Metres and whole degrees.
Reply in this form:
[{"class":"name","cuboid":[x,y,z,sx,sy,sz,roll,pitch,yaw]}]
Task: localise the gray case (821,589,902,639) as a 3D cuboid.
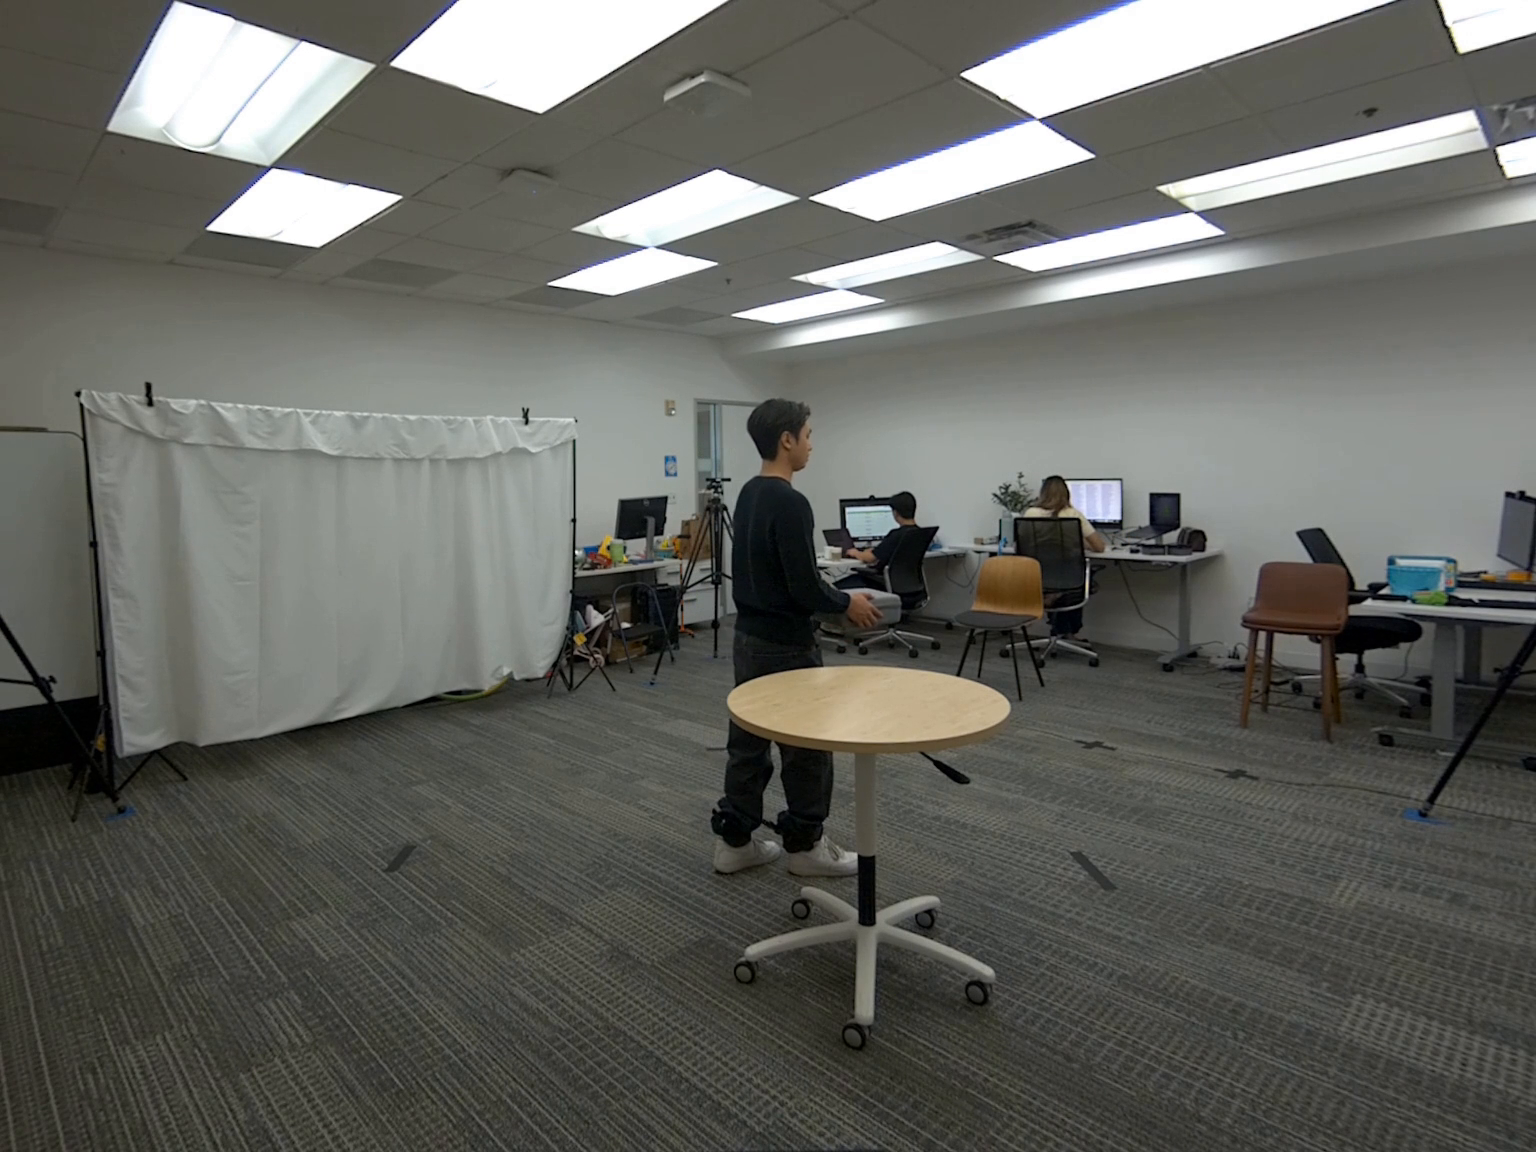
[{"class":"gray case","cuboid":[0.314,0.112,3.155,0.258,0.103,0.261,-4,9,-12]}]
